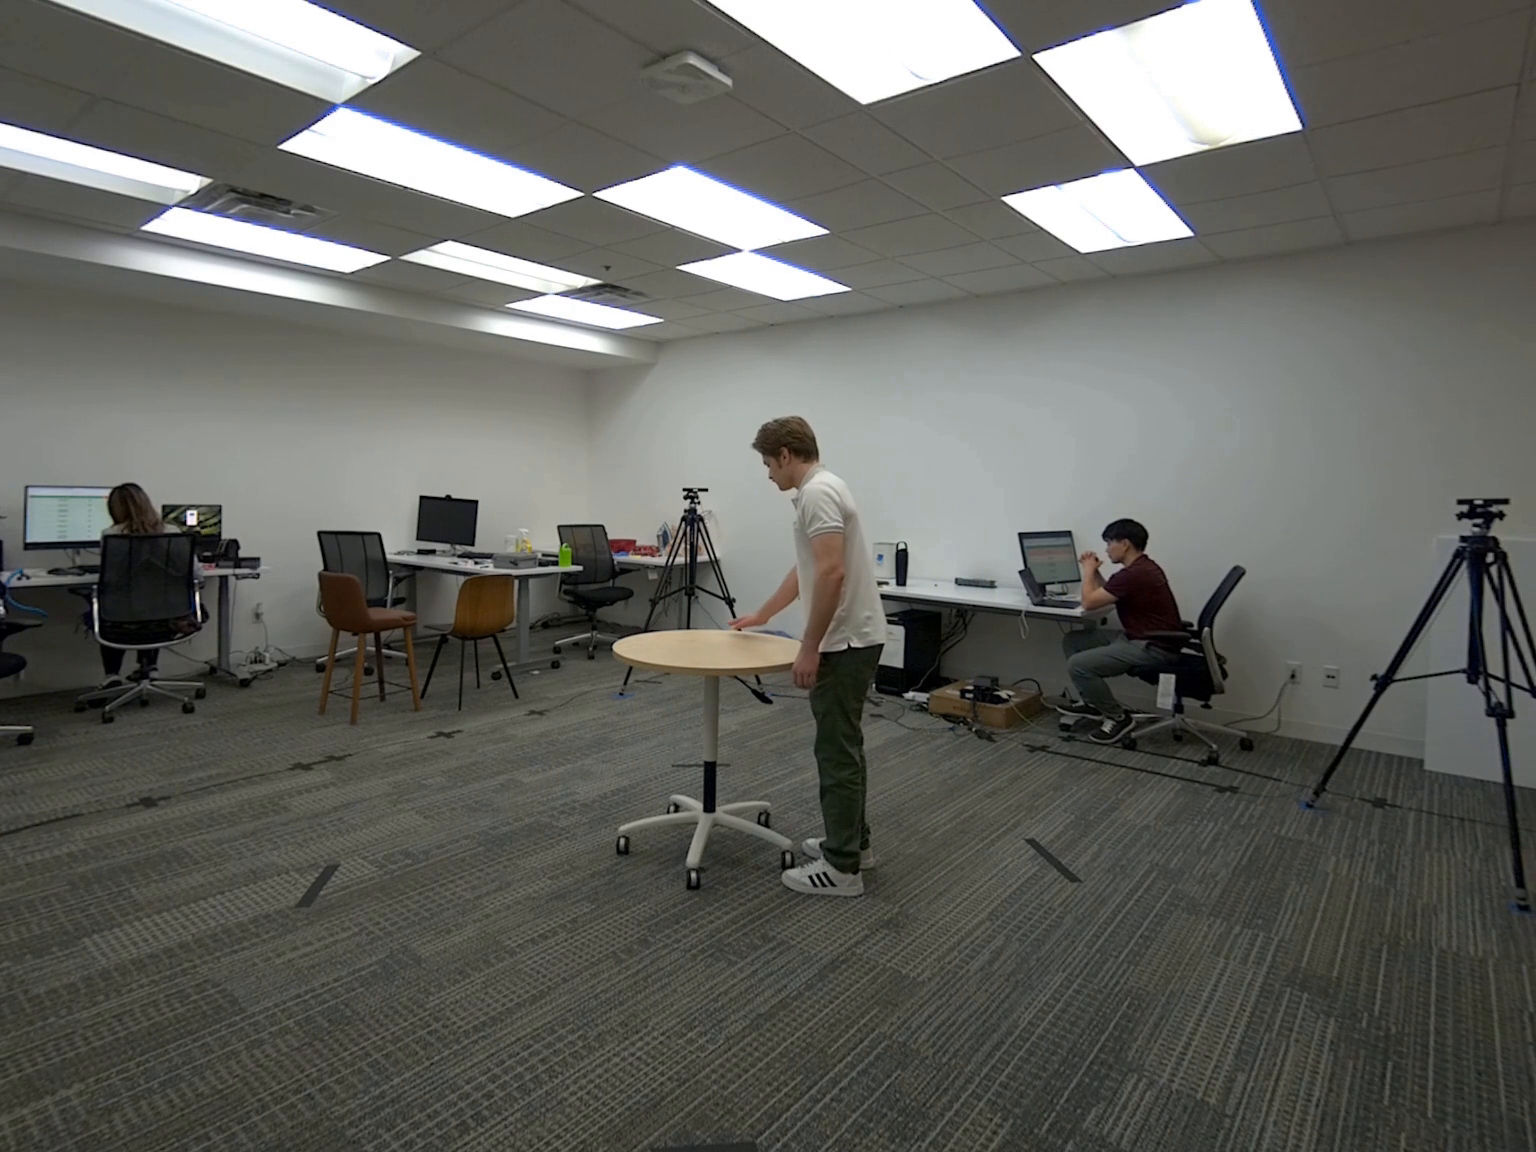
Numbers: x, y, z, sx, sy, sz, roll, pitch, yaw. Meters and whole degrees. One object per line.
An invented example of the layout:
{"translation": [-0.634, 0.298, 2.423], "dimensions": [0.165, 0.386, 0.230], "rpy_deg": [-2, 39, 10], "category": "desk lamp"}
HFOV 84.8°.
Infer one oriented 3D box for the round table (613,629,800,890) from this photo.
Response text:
{"translation": [-0.242, 0.655, 3.303], "dimensions": [0.784, 0.784, 0.789], "rpy_deg": [1, 5, -2], "category": "round table"}
